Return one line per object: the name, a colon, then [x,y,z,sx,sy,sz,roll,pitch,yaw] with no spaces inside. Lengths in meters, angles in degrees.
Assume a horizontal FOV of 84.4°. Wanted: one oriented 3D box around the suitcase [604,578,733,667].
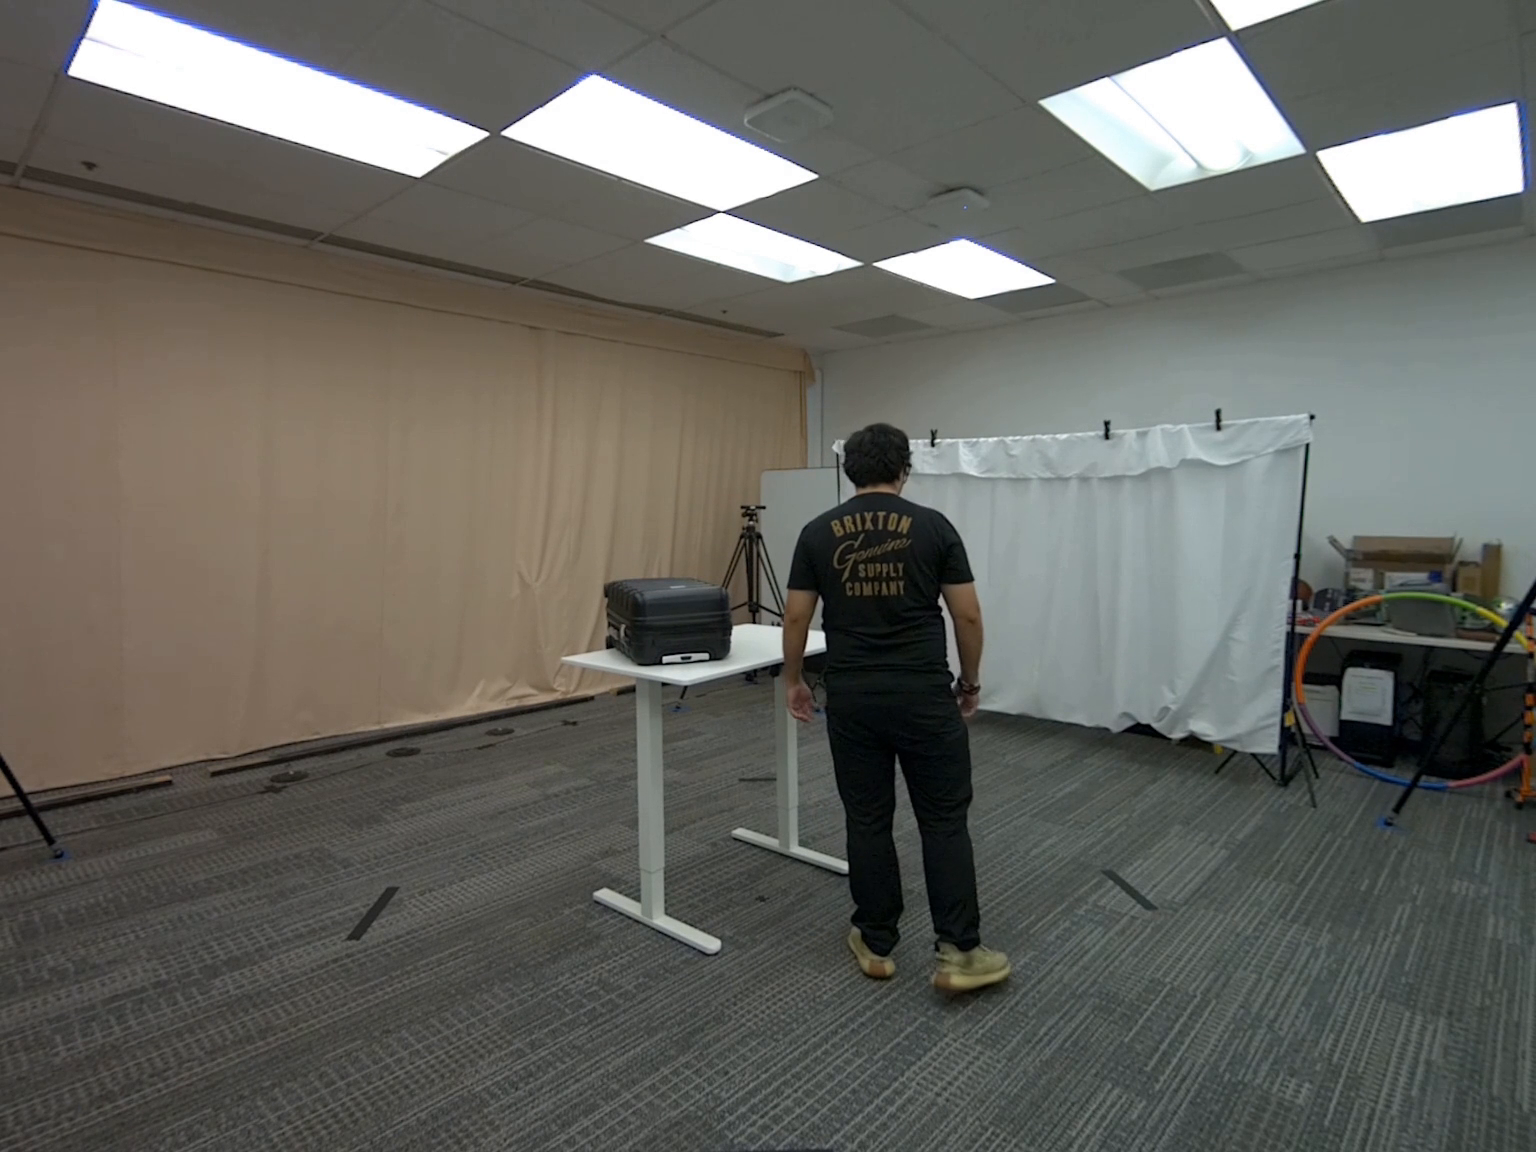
suitcase: [-0.354,0.152,2.960,0.368,0.248,0.562,-2,5,-21]
